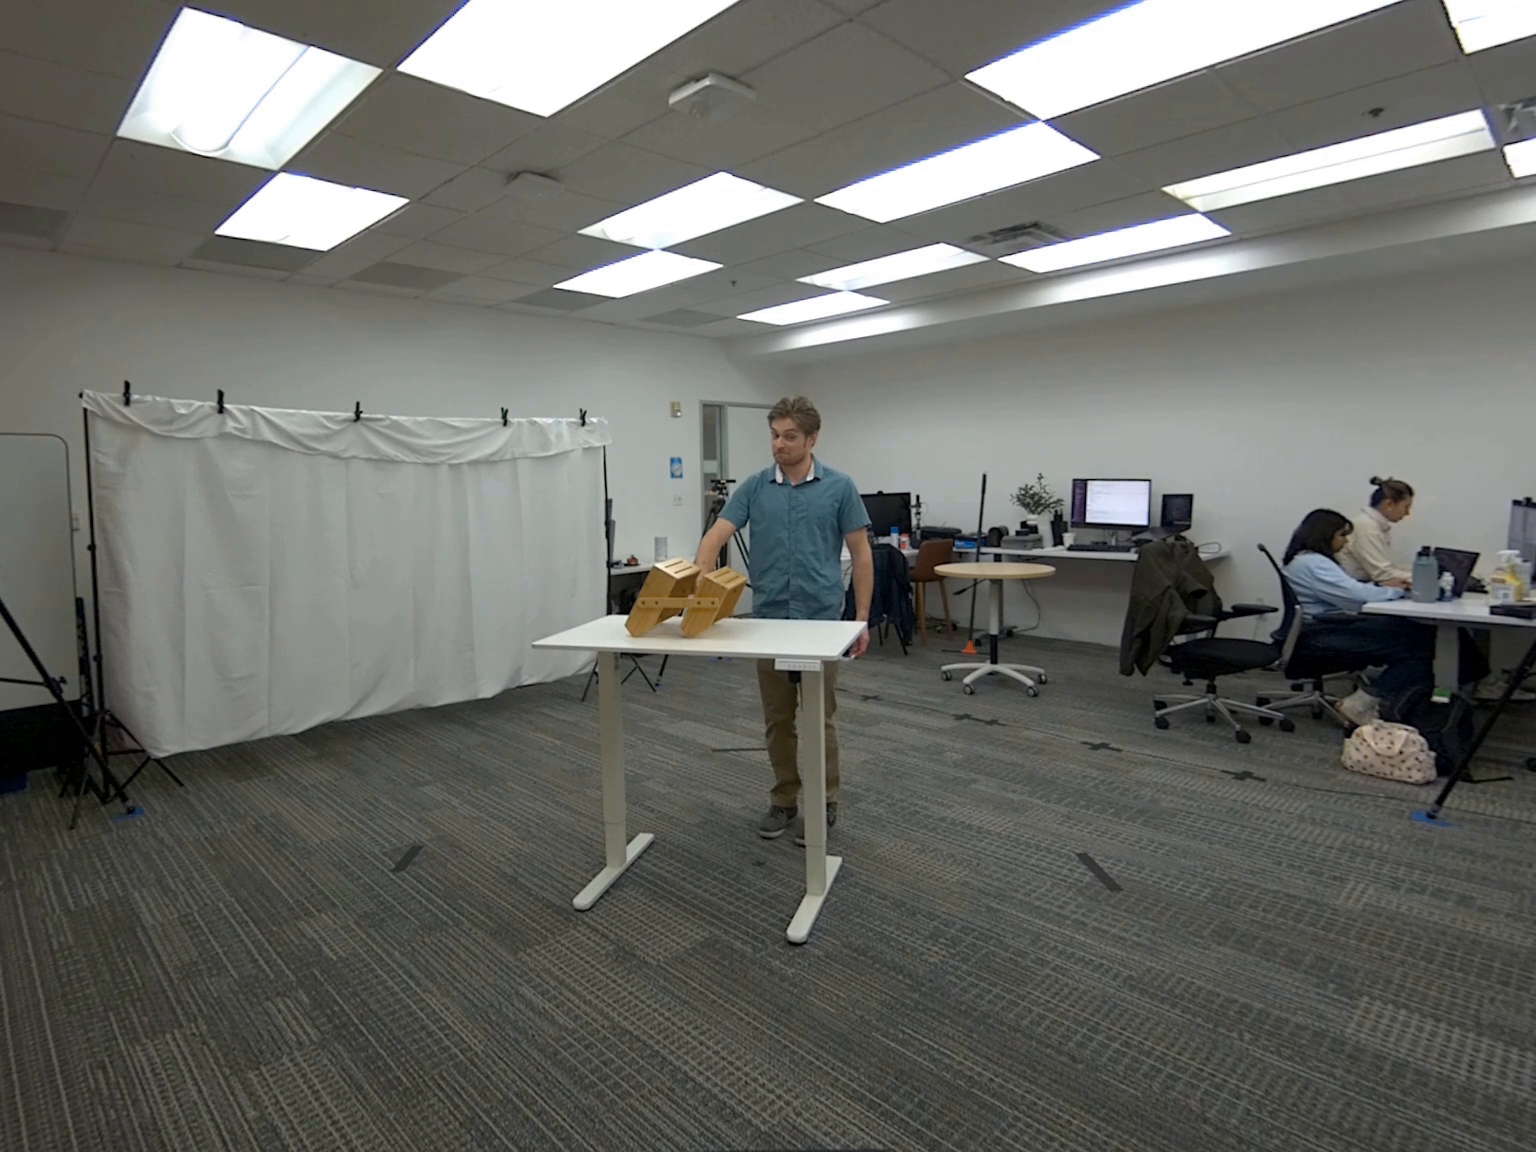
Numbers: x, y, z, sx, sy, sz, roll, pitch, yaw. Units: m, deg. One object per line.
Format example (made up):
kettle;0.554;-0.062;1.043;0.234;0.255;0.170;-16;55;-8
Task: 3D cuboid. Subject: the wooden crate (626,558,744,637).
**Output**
wooden crate;-0.267;0.096;2.932;0.277;0.301;0.321;26;10;10
